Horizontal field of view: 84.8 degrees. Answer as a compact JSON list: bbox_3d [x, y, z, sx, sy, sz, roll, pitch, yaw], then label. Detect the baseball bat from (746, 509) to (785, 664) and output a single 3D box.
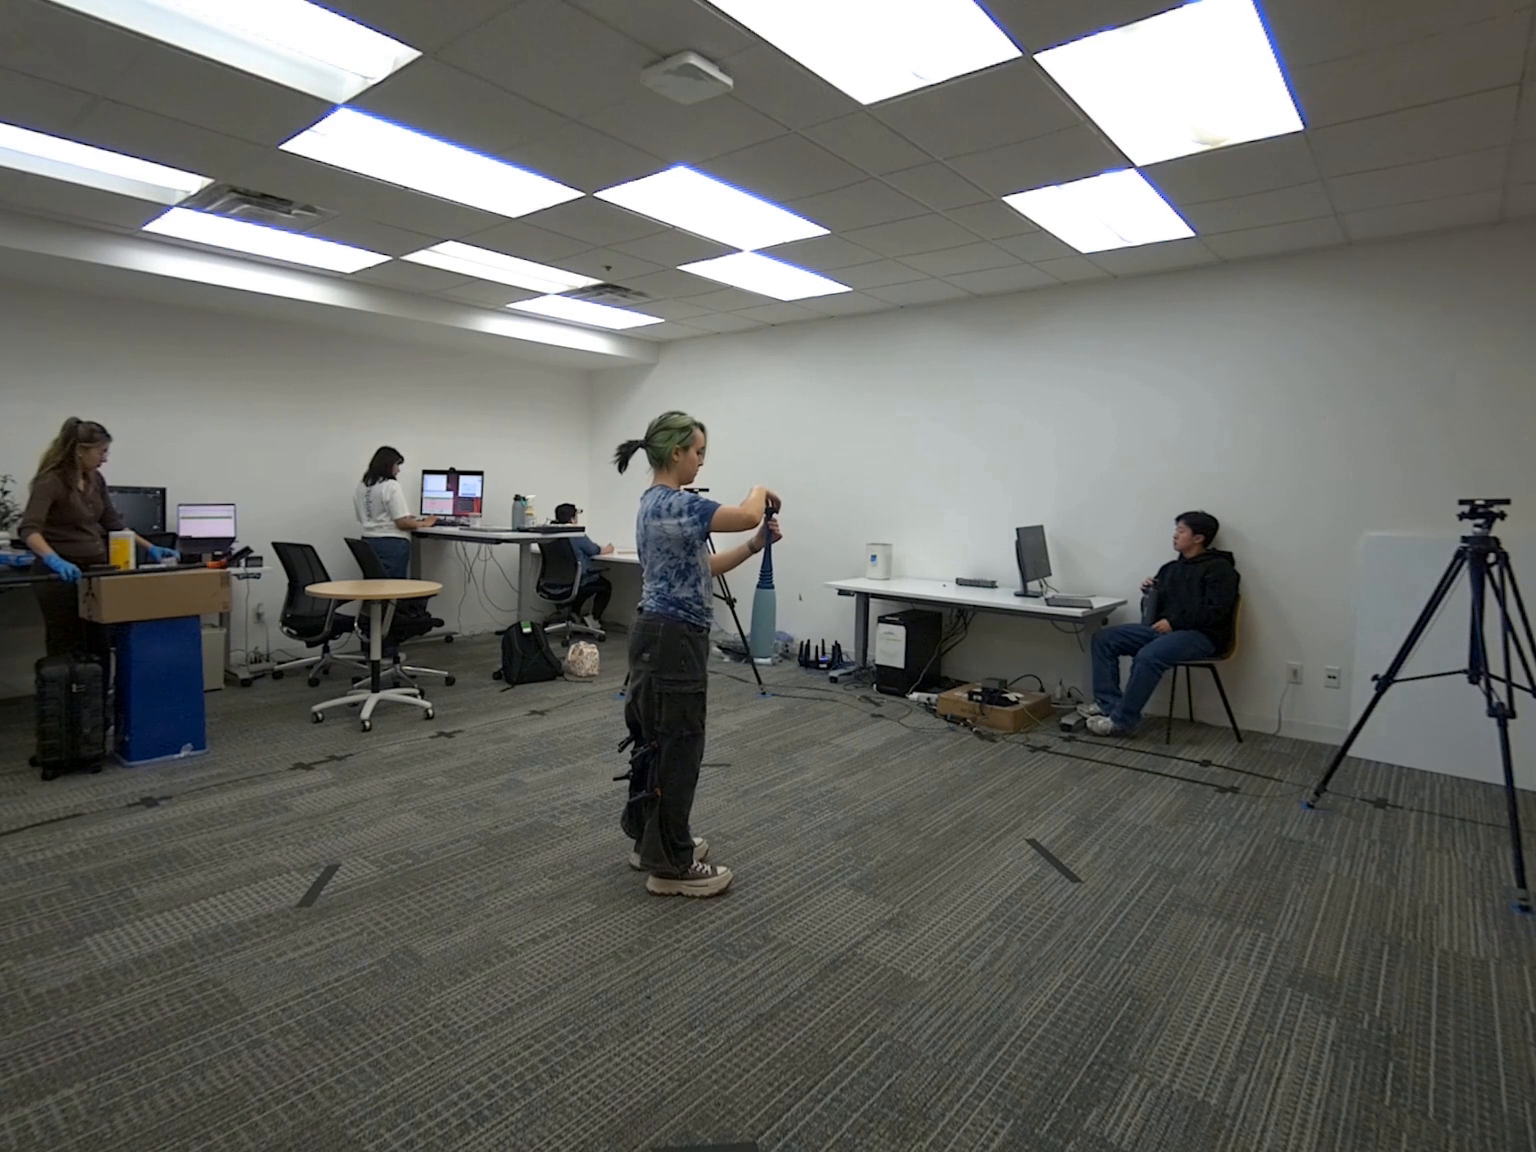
[{"bbox_3d":[-0.013,0.033,3.000,0.089,0.540,0.090,4,7,-2],"label":"baseball bat"}]
